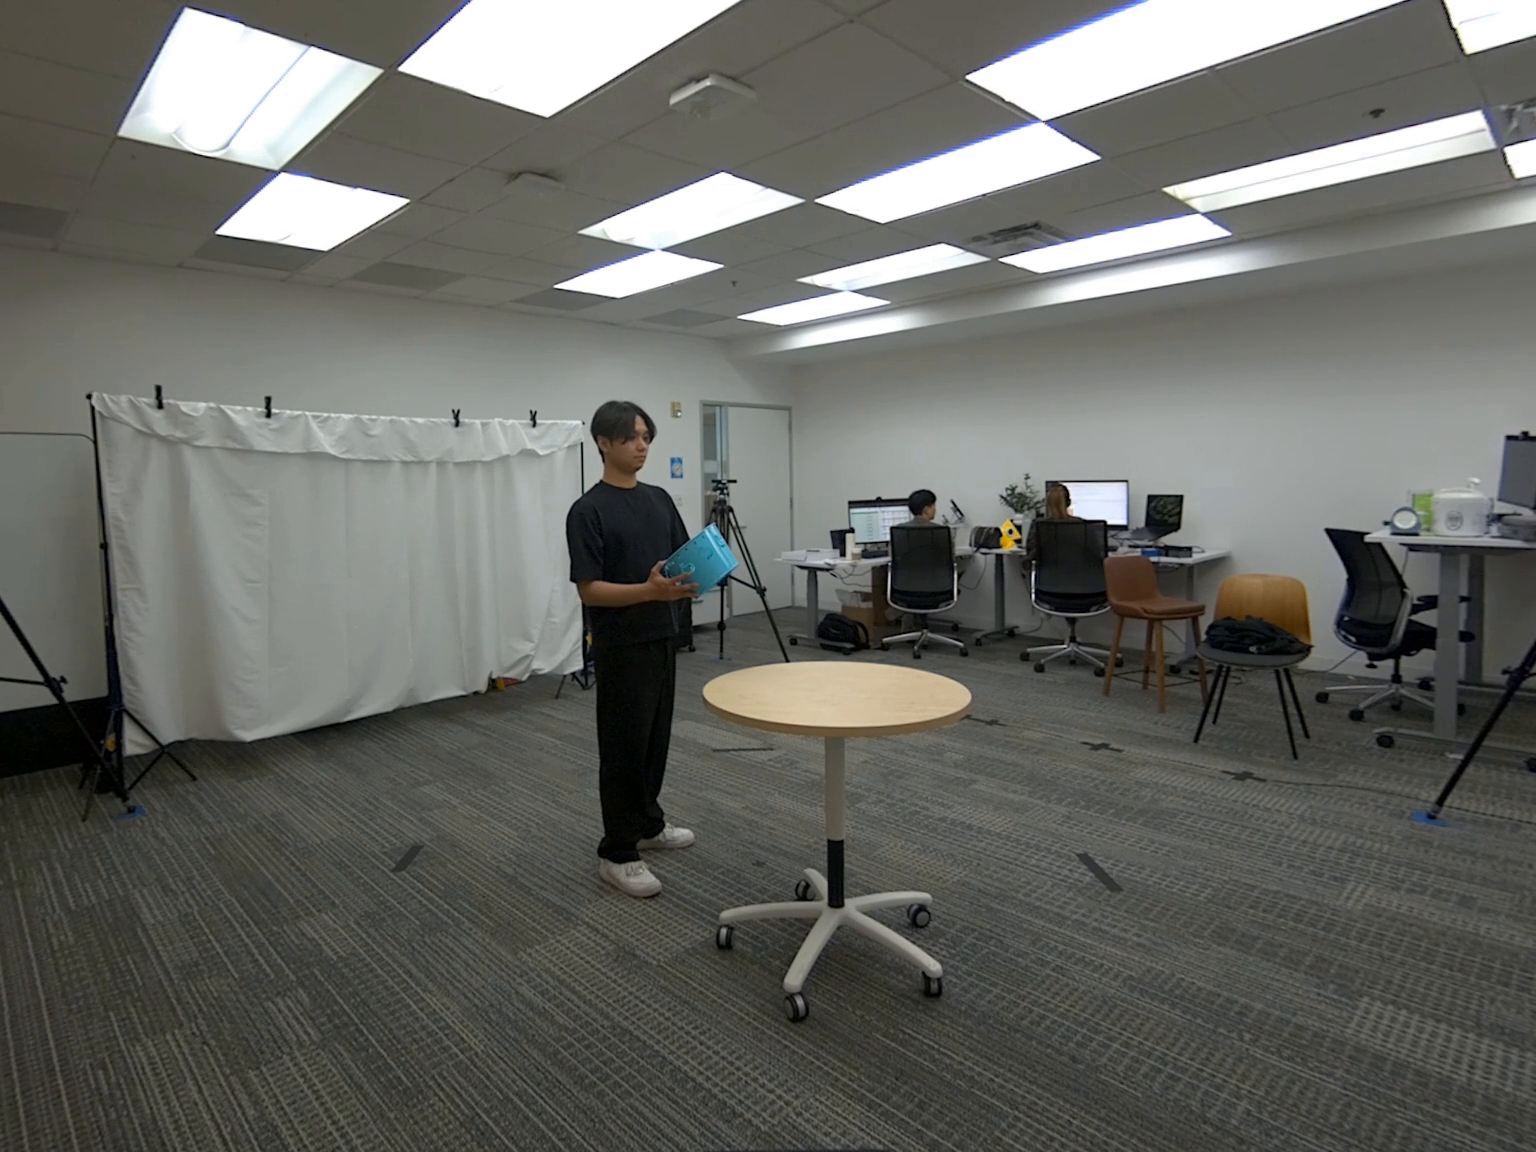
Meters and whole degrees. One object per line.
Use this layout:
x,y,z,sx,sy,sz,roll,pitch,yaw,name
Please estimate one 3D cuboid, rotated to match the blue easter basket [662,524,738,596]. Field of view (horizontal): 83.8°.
-0.218,-0.039,2.758,0.243,0.156,0.243,-41,1,-2,blue easter basket
